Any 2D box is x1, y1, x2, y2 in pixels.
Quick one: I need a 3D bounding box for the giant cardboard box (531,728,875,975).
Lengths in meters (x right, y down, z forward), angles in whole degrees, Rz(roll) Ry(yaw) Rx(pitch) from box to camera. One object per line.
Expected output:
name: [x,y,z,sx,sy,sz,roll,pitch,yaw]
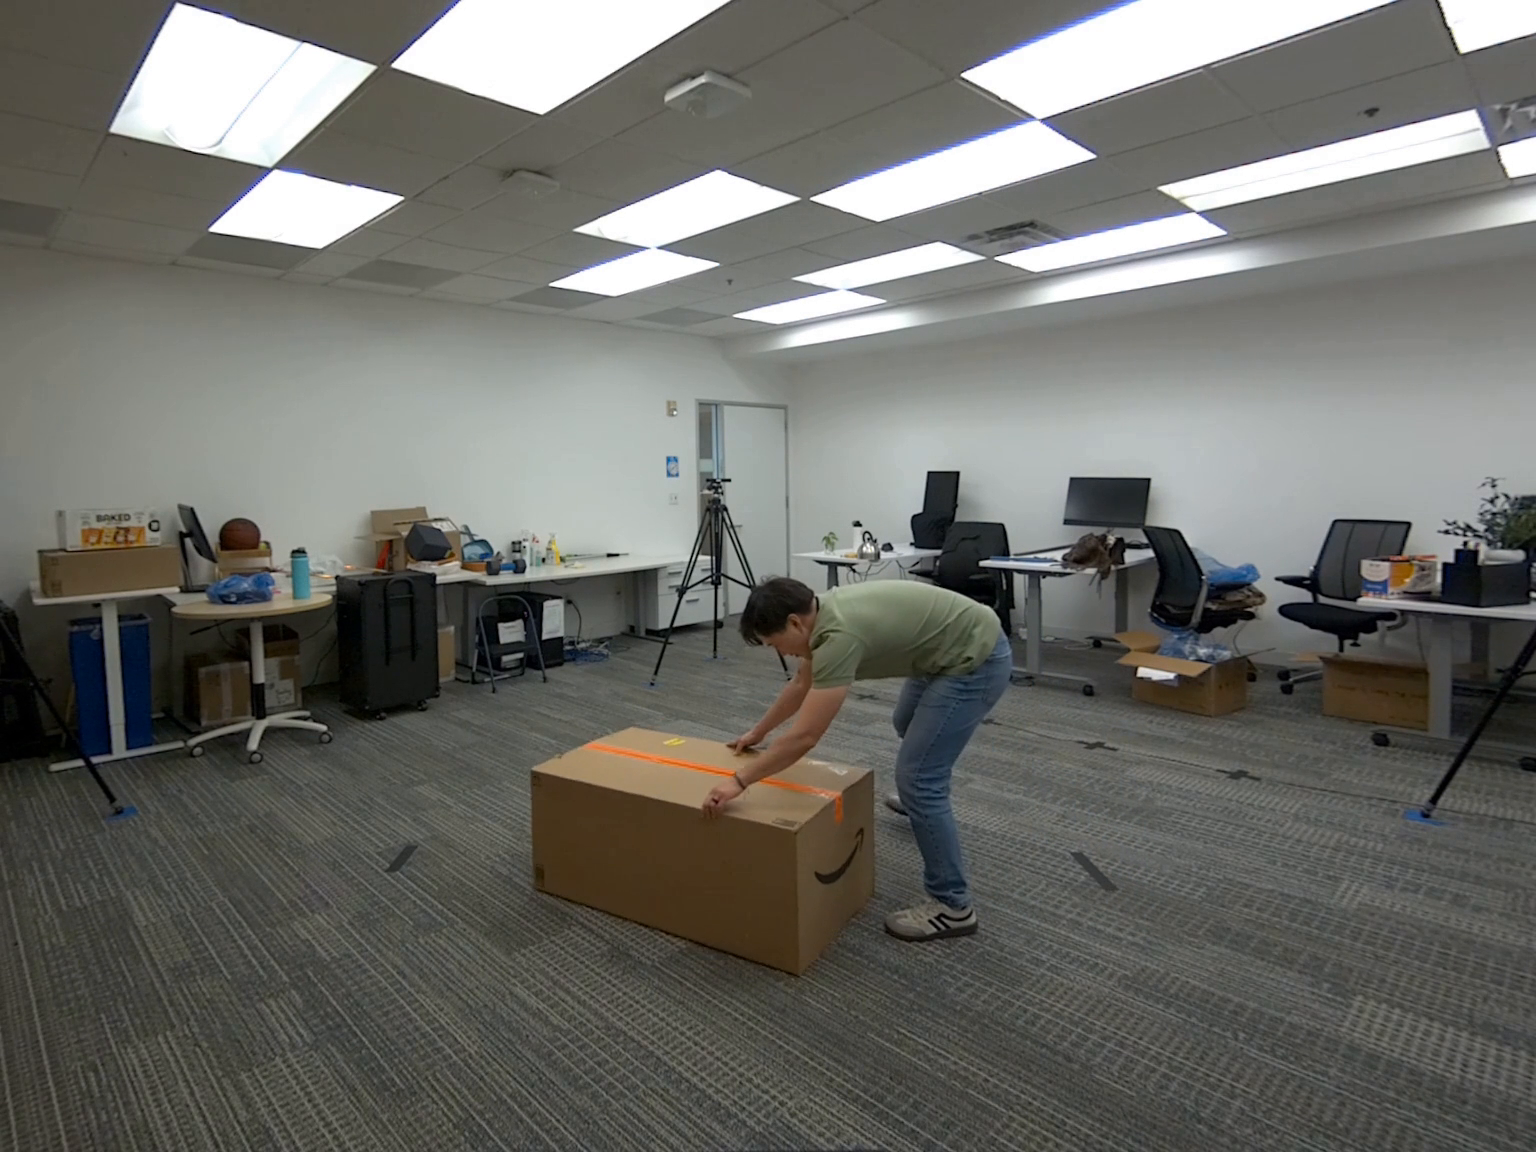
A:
giant cardboard box: [-0.225,0.857,2.896,1.054,0.425,0.564,3,5,31]
